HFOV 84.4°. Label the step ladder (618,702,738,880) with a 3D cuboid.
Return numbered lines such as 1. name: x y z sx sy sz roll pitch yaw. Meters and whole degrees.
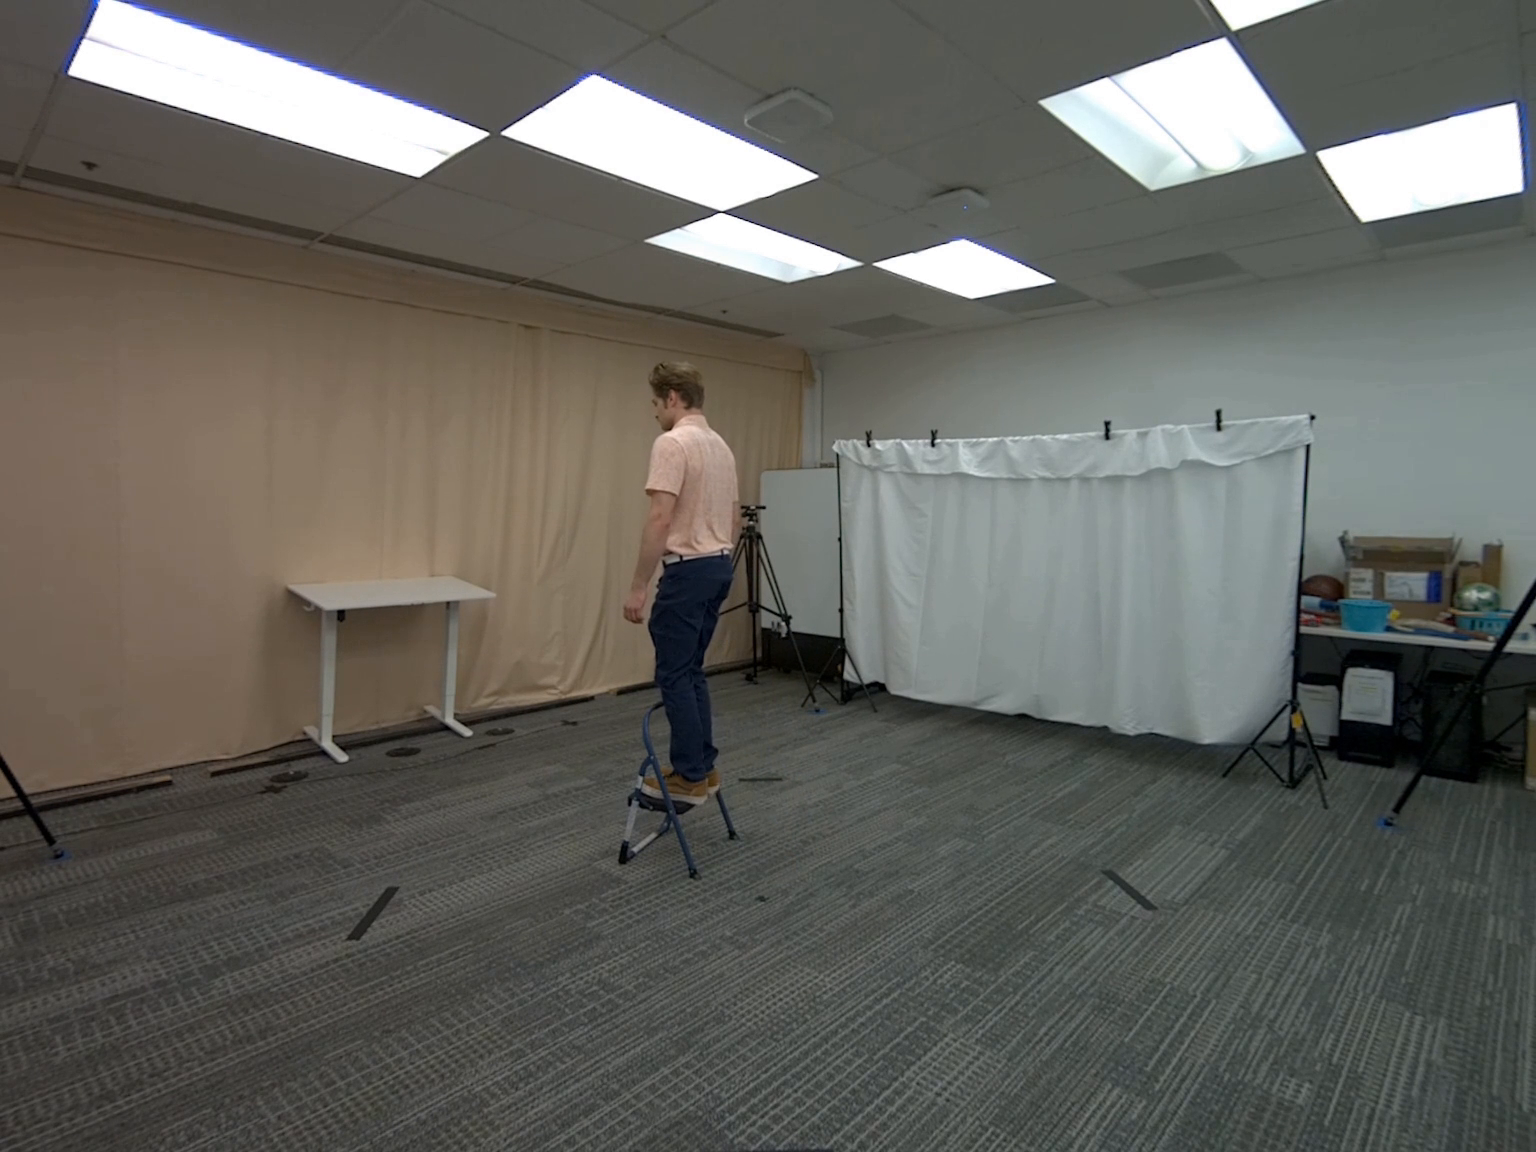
1. step ladder: -0.359 0.812 3.393 0.357 0.605 0.422 0 3 21
